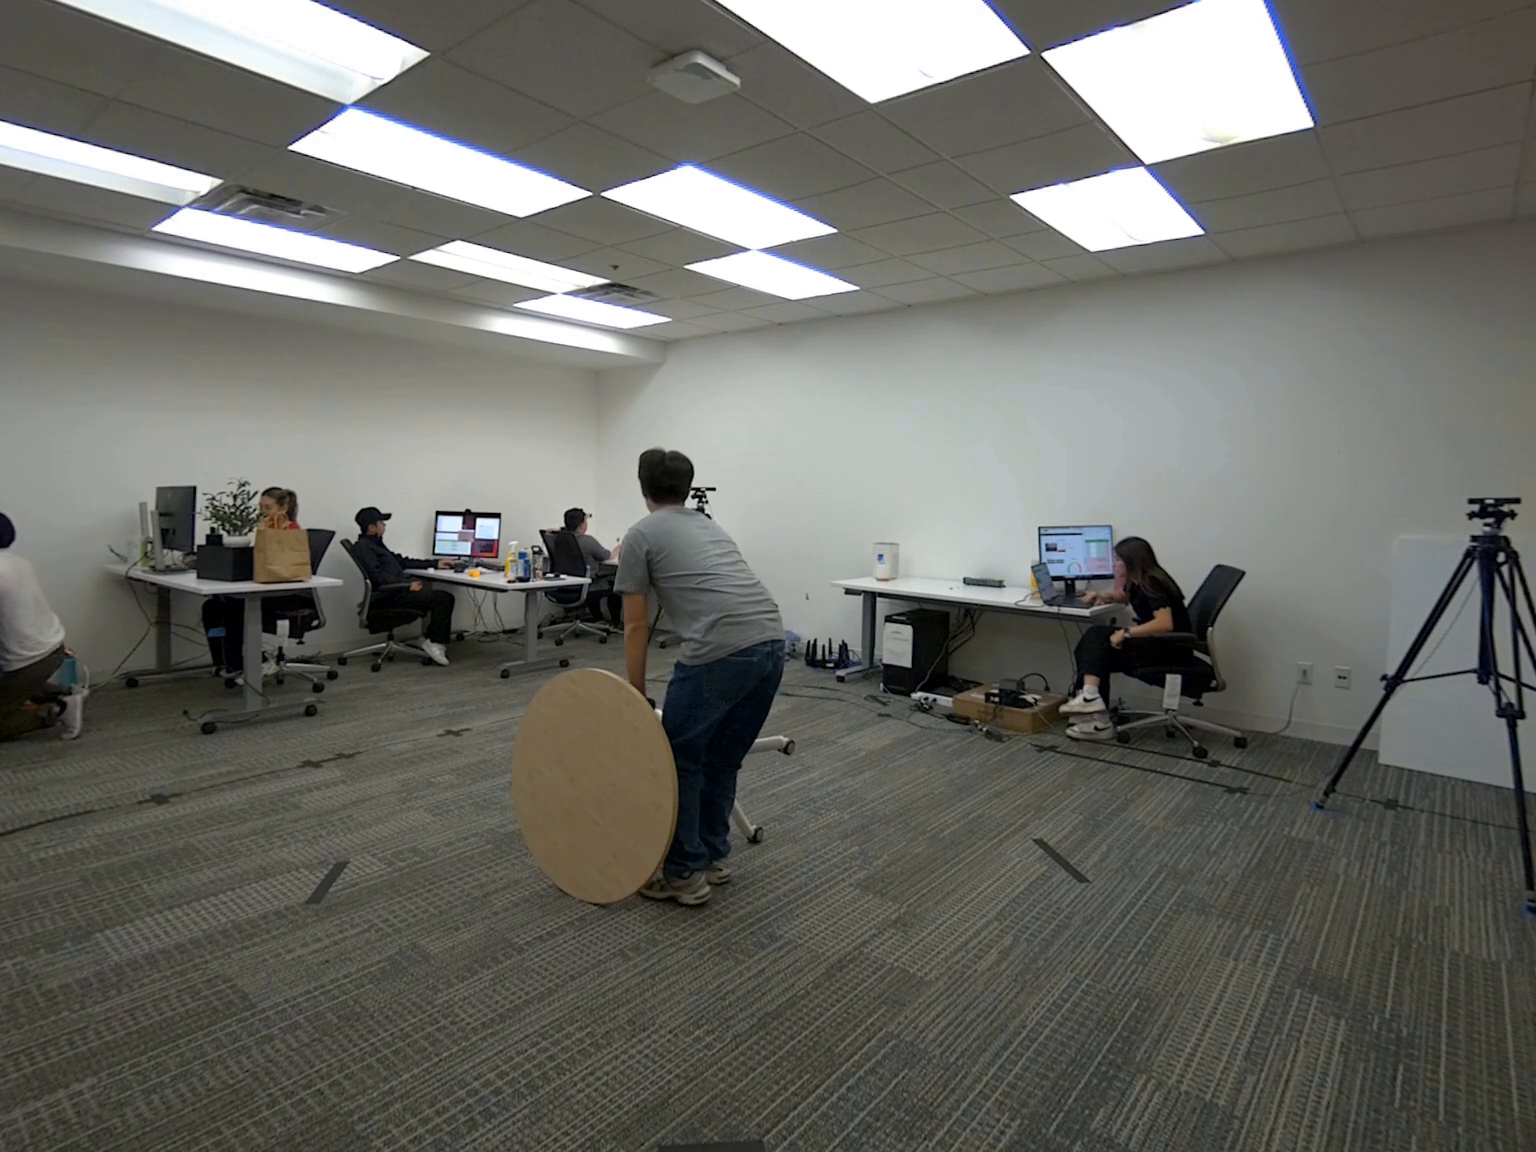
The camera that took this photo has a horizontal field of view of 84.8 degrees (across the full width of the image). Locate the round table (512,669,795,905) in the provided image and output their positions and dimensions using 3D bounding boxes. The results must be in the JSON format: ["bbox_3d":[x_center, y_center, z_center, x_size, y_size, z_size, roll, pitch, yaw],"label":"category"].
[{"bbox_3d":[-0.414,0.713,3.192,0.788,0.765,0.768,4,-1,35],"label":"round table"}]
